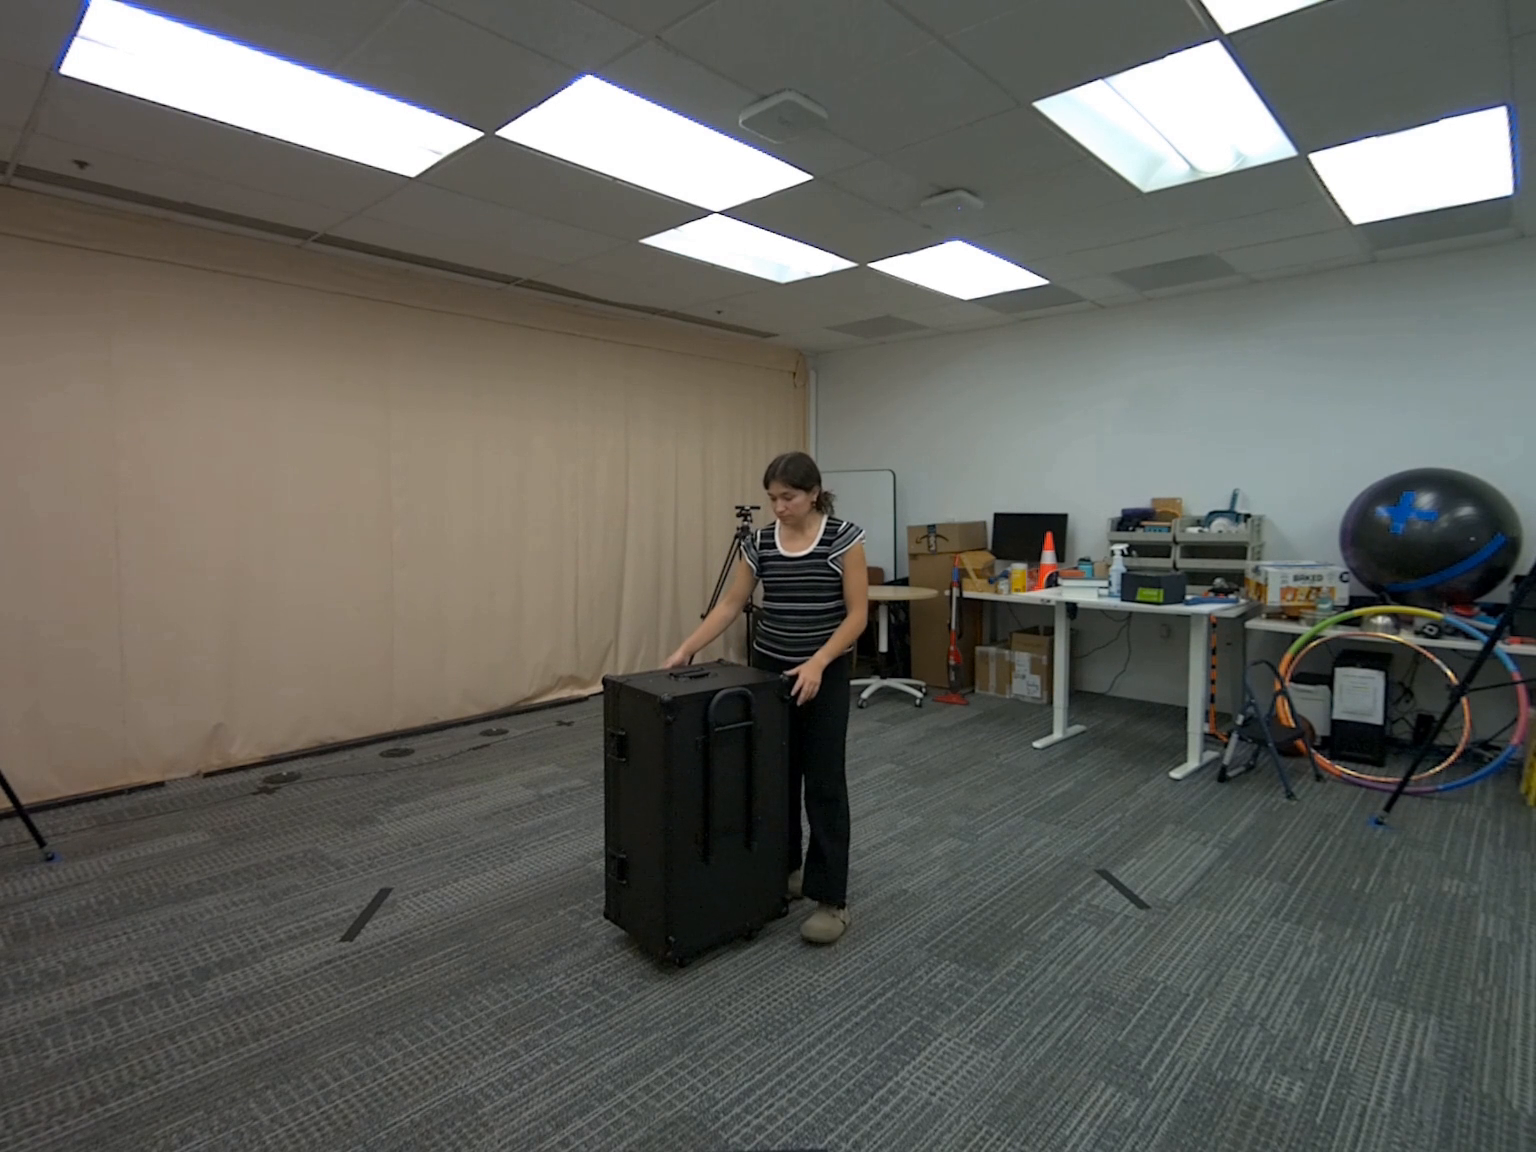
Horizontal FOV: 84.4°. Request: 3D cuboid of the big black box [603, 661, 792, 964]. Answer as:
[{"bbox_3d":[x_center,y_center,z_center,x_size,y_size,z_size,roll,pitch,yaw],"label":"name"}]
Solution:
[{"bbox_3d":[-0.220,0.745,2.687,0.505,0.859,0.409,-3,5,-39],"label":"big black box"}]
